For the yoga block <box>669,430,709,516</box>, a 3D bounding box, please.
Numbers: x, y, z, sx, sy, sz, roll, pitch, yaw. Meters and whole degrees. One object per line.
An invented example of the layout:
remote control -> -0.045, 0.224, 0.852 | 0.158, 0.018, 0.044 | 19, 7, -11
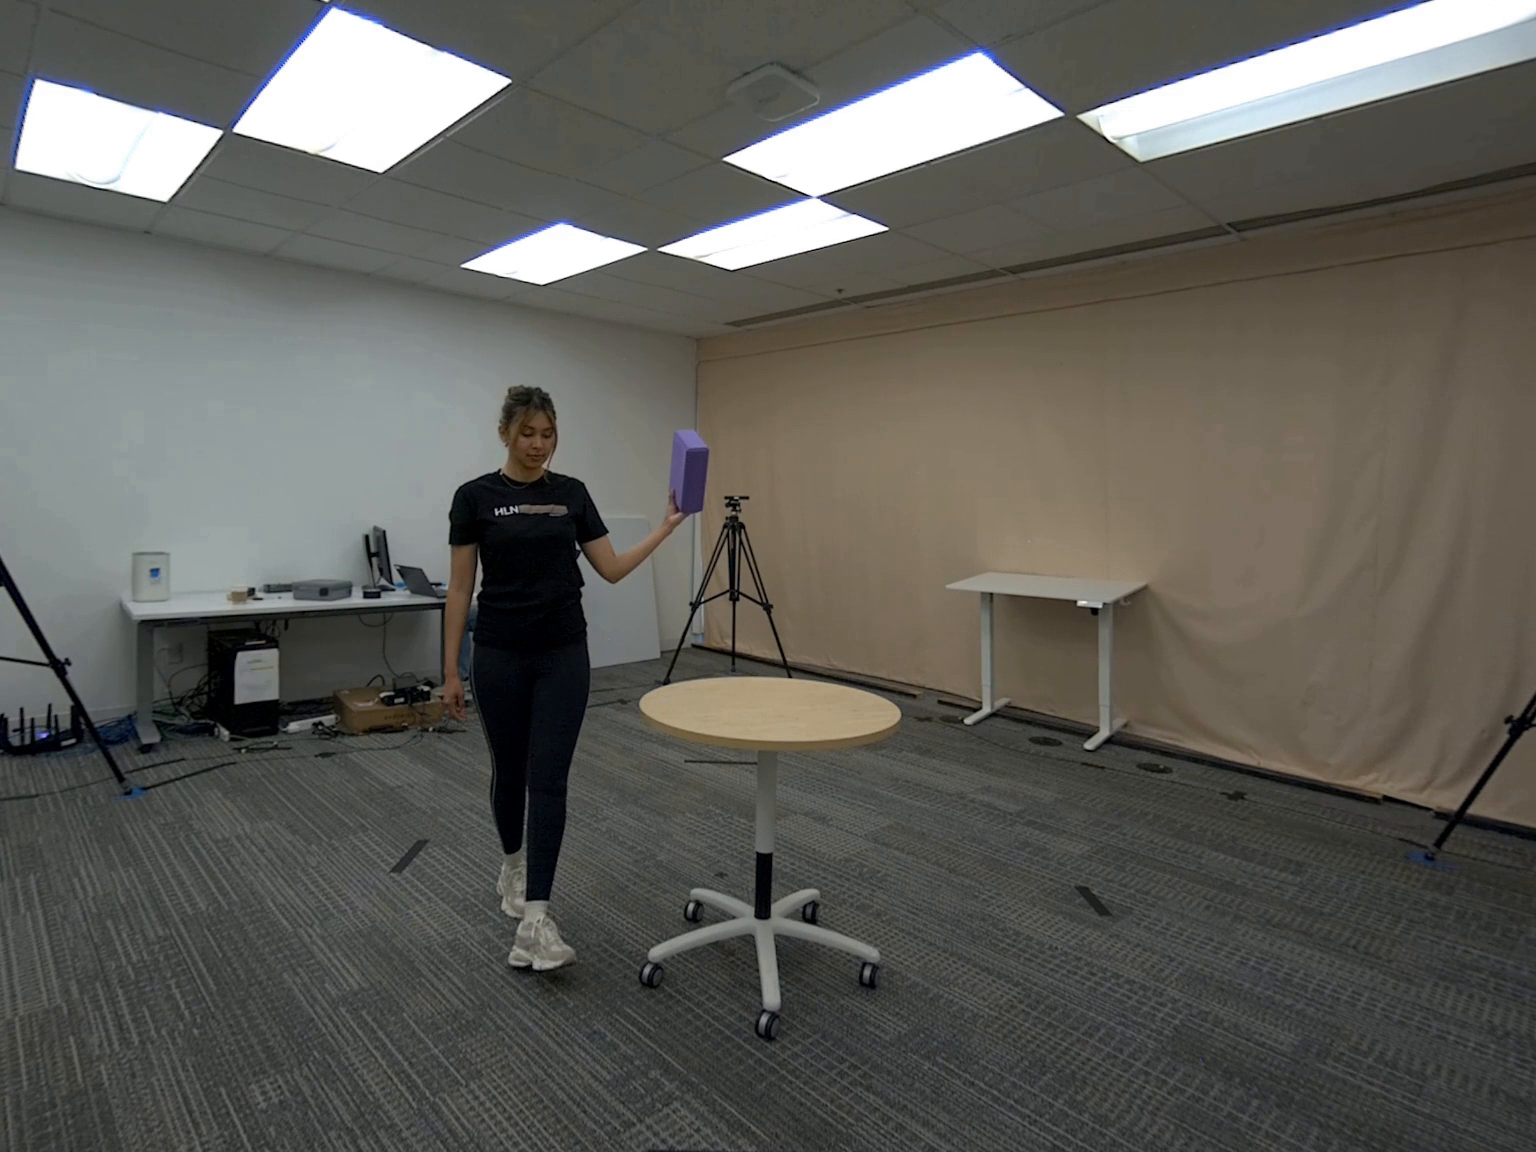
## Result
yoga block -> -0.260, -0.334, 2.698 | 0.075, 0.226, 0.153 | -5, 33, -22
